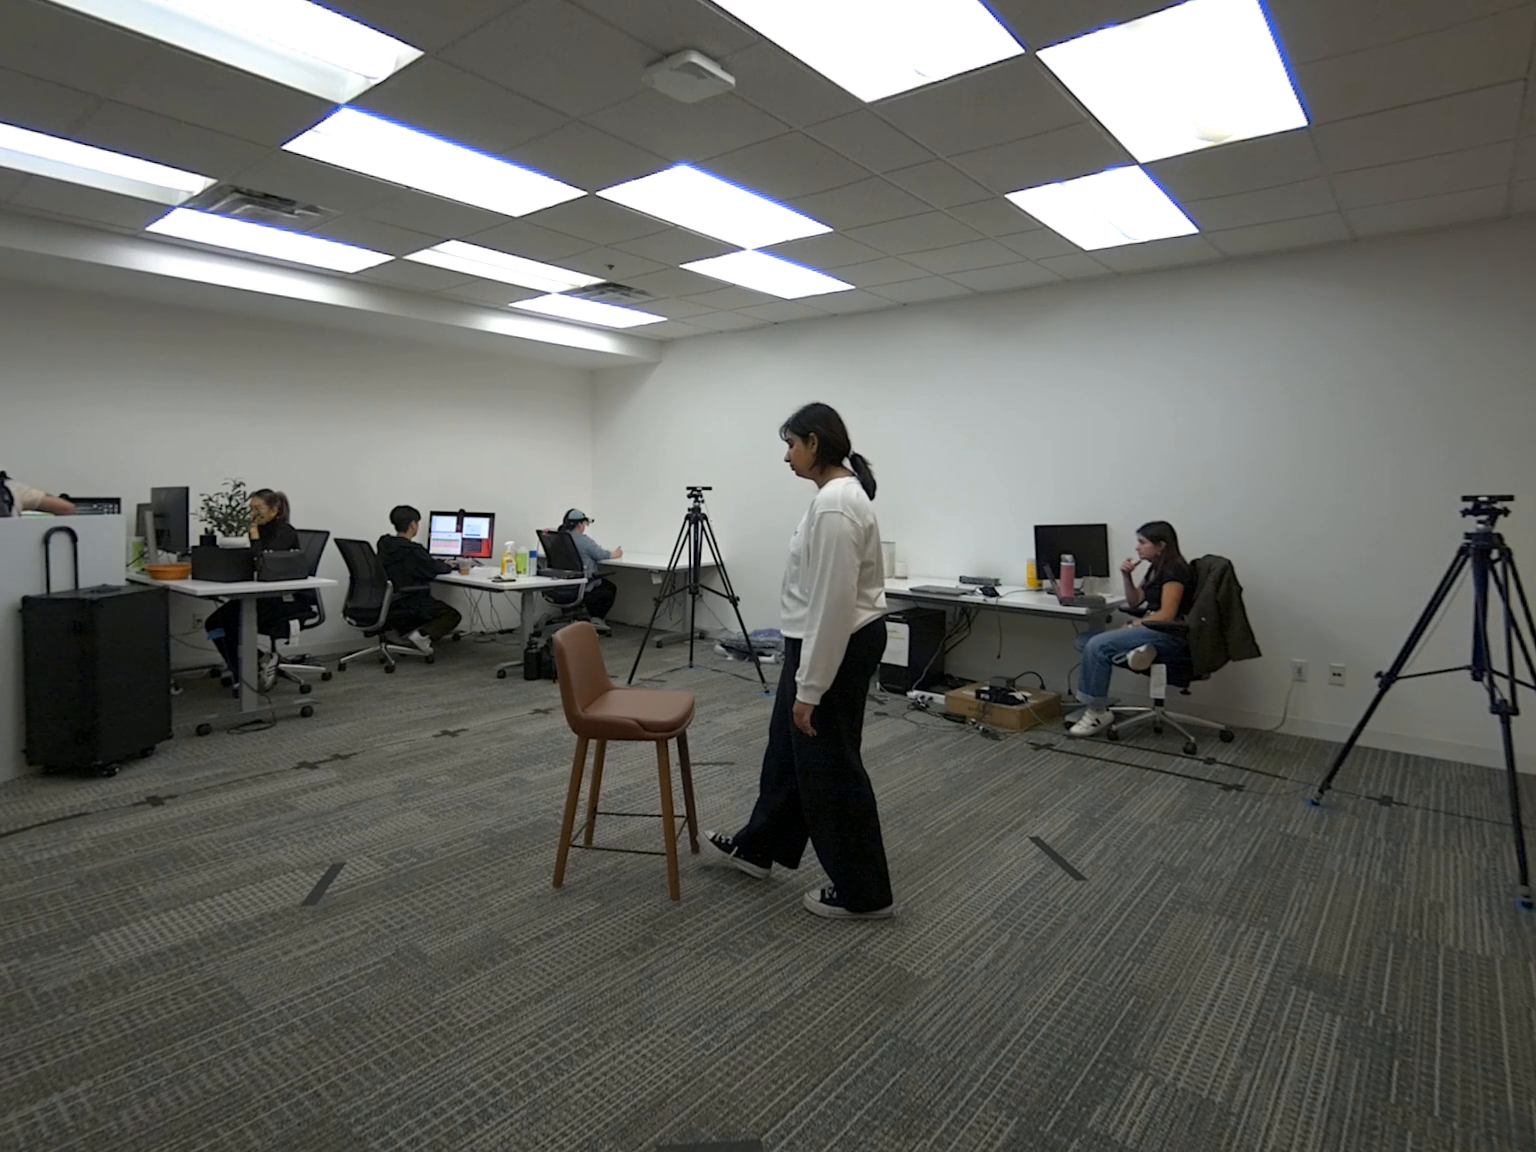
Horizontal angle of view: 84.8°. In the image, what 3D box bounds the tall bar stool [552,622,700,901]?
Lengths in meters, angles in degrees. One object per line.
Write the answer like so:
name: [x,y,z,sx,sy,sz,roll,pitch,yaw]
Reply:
tall bar stool: [-0.502,0.630,3.071,0.472,0.887,0.453,0,3,8]
